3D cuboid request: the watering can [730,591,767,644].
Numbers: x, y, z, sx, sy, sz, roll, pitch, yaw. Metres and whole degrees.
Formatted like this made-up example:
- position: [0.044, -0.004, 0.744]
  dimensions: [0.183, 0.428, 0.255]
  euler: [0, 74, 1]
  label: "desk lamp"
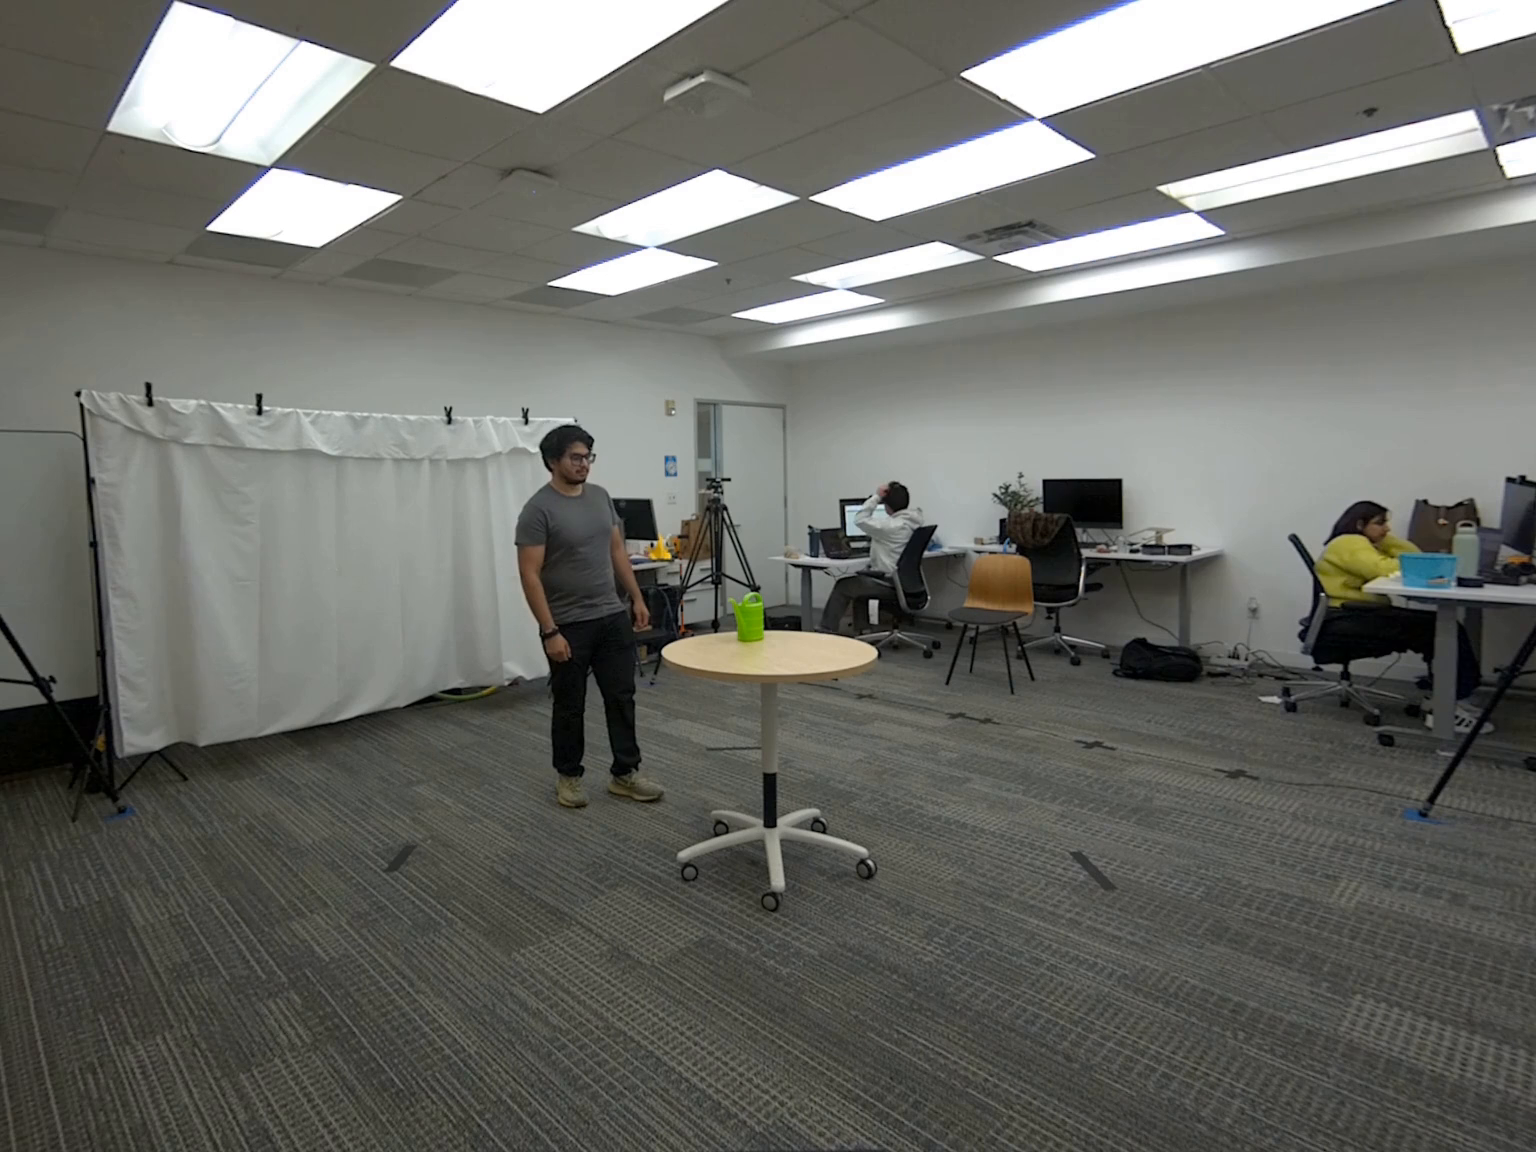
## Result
- position: [-0.092, 0.156, 3.228]
  dimensions: [0.101, 0.176, 0.271]
  euler: [2, 4, 36]
  label: "watering can"
